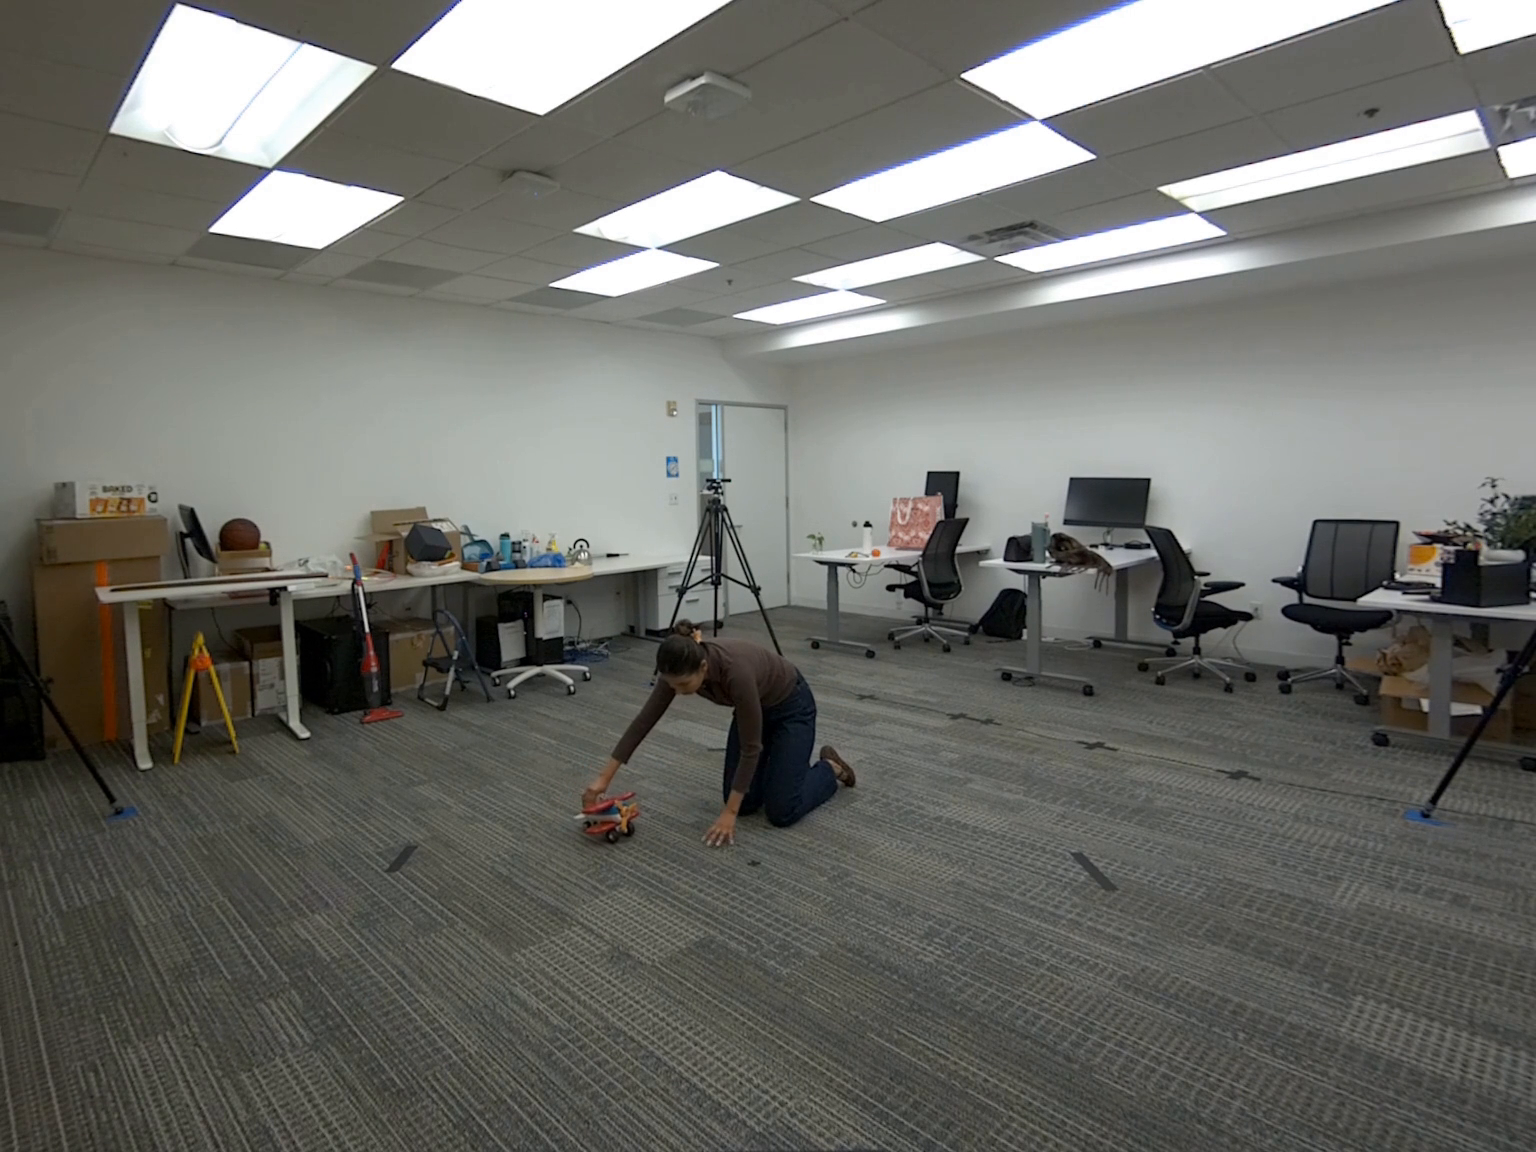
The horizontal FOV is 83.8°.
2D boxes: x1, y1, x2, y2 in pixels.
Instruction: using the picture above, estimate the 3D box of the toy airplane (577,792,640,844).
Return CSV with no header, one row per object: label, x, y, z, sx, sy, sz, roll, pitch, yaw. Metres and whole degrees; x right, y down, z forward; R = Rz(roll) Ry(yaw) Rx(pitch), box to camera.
toy airplane,-0.656,0.953,3.375,0.262,0.156,0.249,1,5,9
